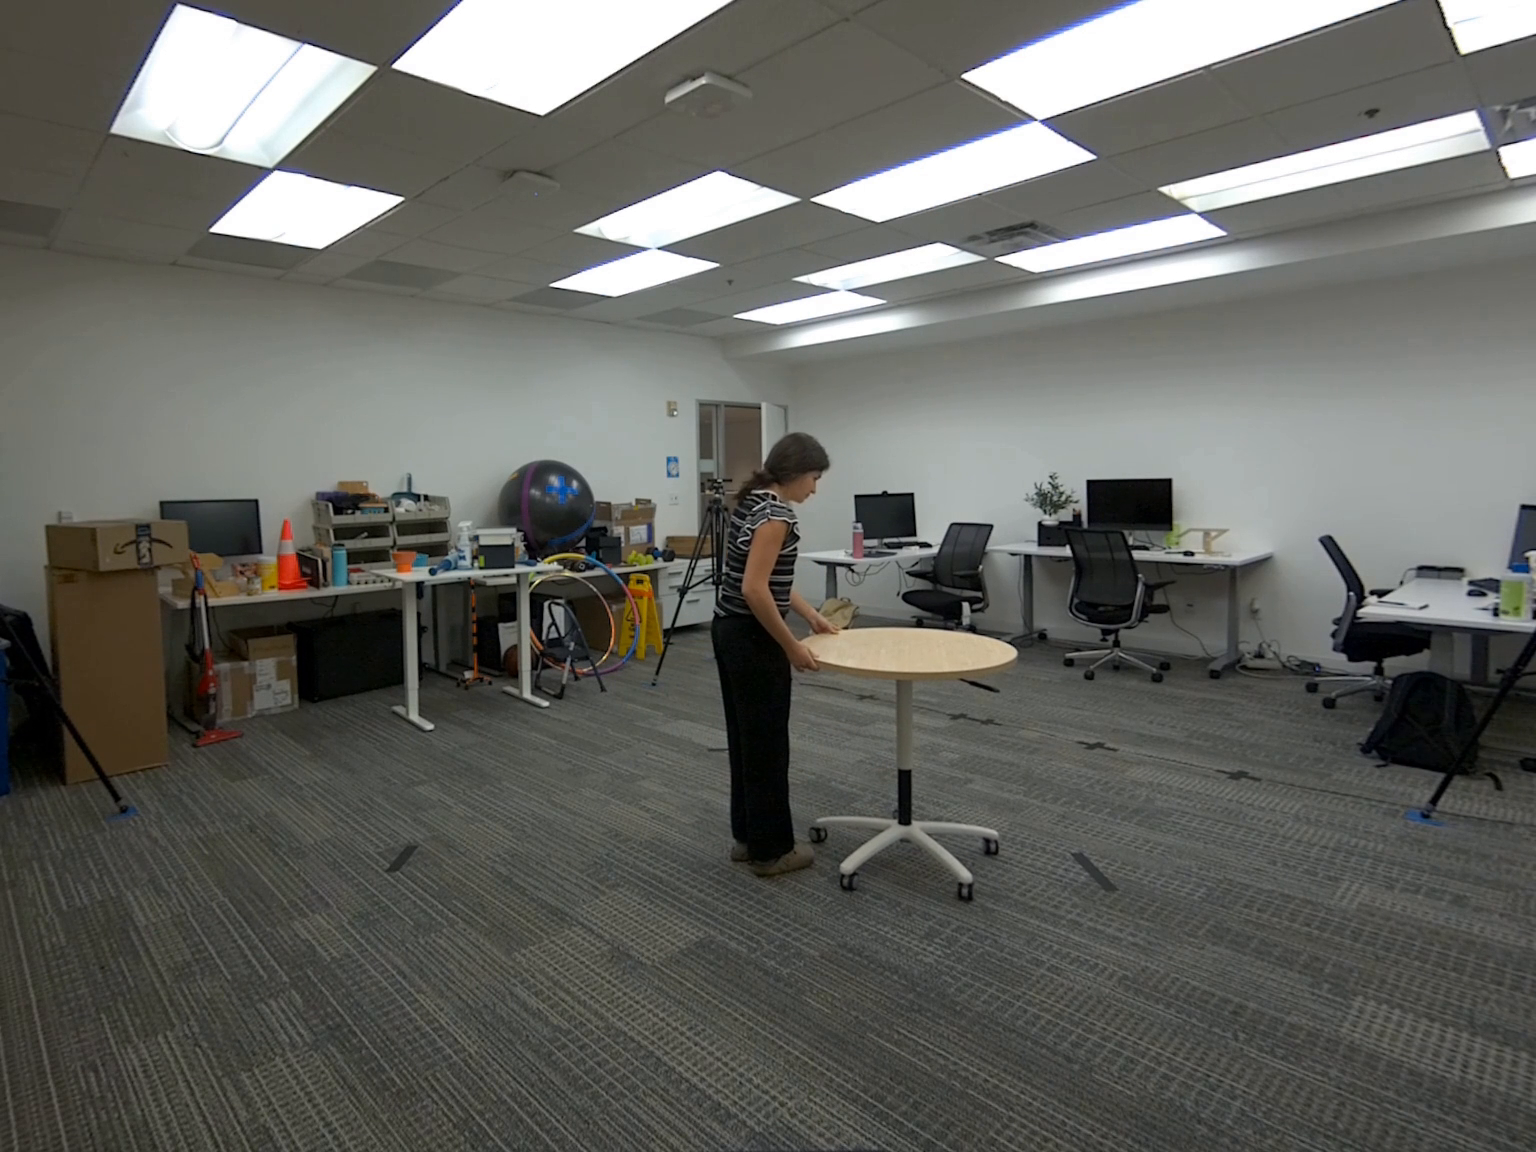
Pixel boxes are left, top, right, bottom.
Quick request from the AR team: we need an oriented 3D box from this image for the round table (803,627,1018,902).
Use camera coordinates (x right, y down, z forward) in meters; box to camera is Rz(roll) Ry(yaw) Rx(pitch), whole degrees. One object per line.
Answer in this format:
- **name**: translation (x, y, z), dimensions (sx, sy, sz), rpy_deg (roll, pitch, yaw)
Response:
- **round table**: translation (0.476, 0.638, 3.080), dimensions (0.784, 0.784, 0.789), rpy_deg (-1, 5, -2)
